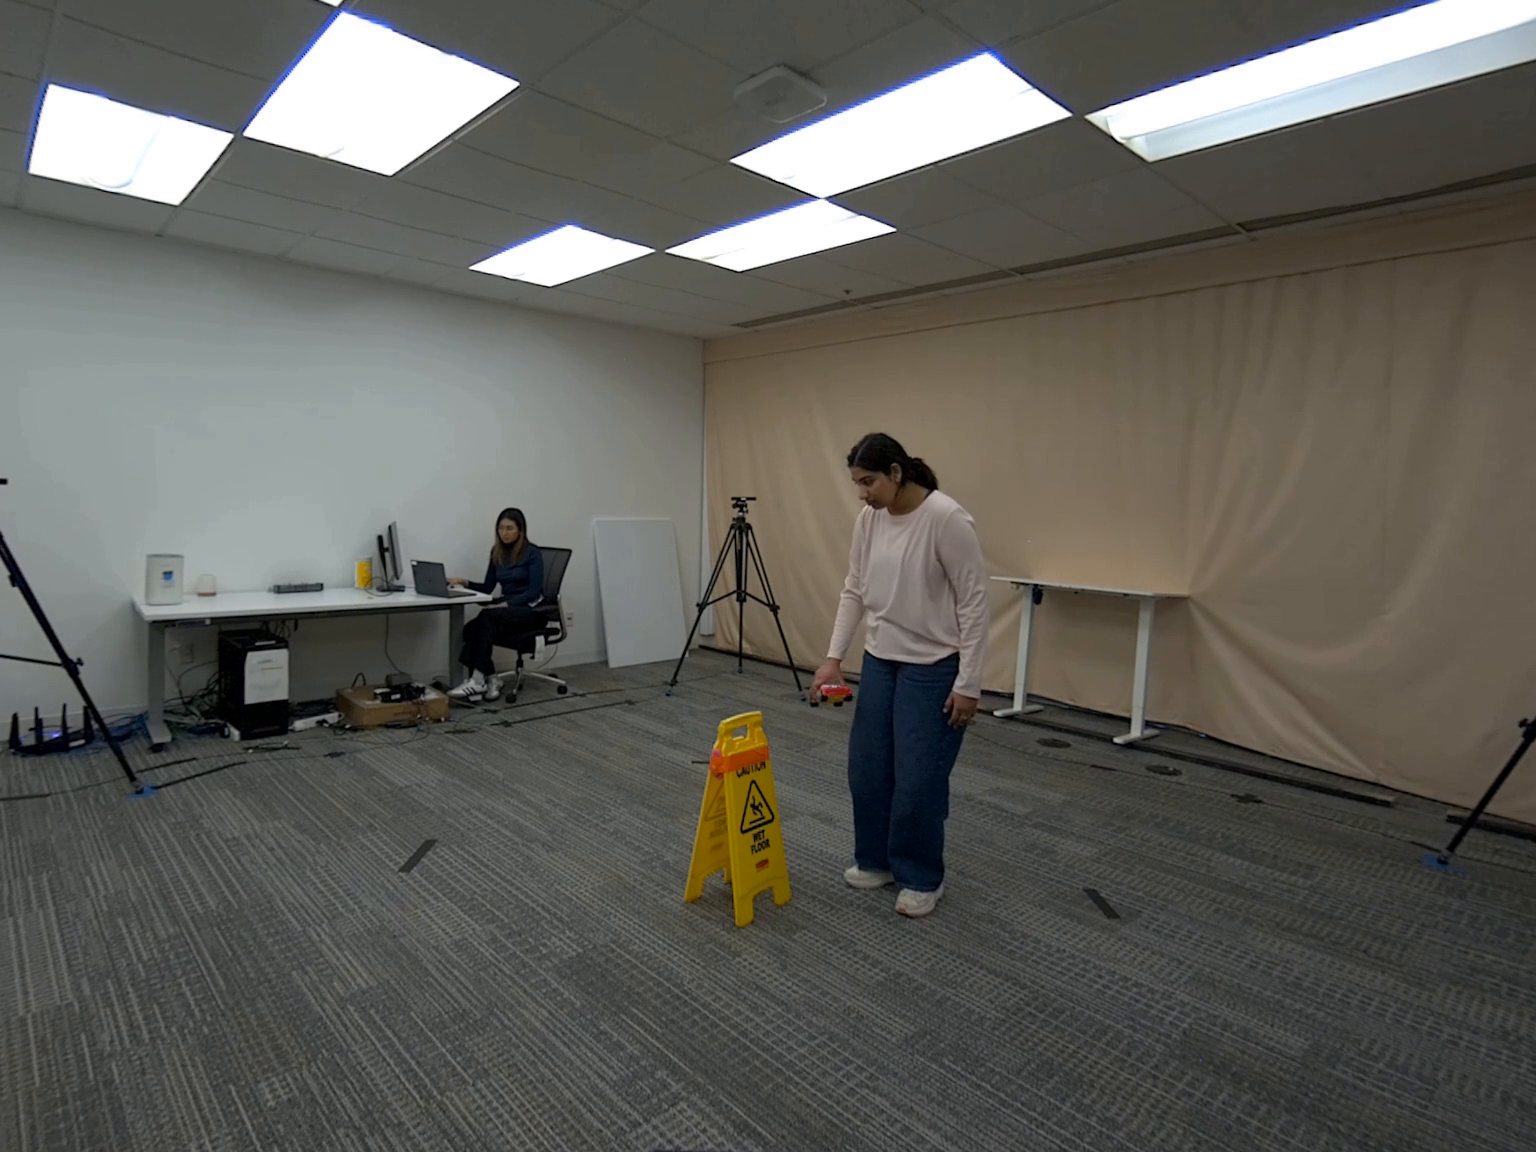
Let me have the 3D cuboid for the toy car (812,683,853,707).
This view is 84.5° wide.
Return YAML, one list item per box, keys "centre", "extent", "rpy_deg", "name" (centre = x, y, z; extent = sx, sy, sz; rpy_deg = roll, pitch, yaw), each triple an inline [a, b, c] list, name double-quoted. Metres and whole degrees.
- centre: [0.212, 0.429, 2.991]
  extent: [0.129, 0.083, 0.255]
  rpy_deg: [0, -4, -10]
  name: "toy car"
